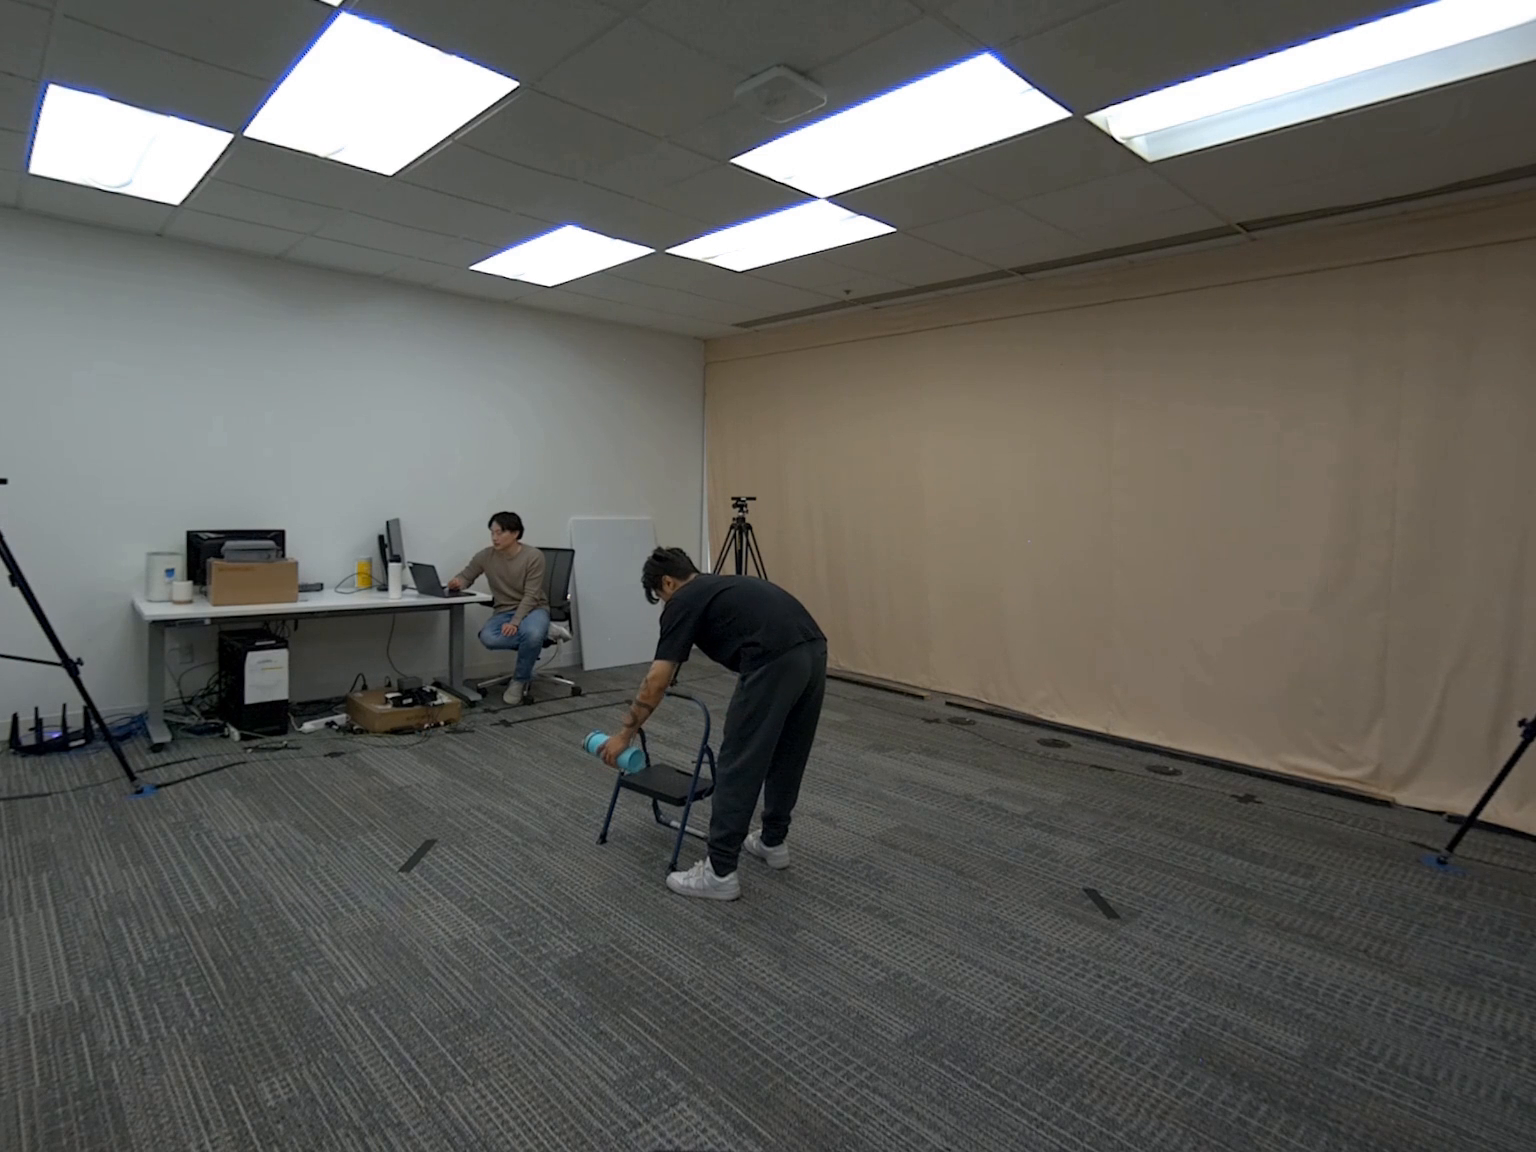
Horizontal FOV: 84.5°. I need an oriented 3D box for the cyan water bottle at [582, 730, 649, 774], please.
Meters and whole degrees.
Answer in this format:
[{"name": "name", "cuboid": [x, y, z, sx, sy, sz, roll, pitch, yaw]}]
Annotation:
[{"name": "cyan water bottle", "cuboid": [-0.566, 0.637, 3.098, 0.291, 0.092, 0.090, 9, 8, 39]}]
